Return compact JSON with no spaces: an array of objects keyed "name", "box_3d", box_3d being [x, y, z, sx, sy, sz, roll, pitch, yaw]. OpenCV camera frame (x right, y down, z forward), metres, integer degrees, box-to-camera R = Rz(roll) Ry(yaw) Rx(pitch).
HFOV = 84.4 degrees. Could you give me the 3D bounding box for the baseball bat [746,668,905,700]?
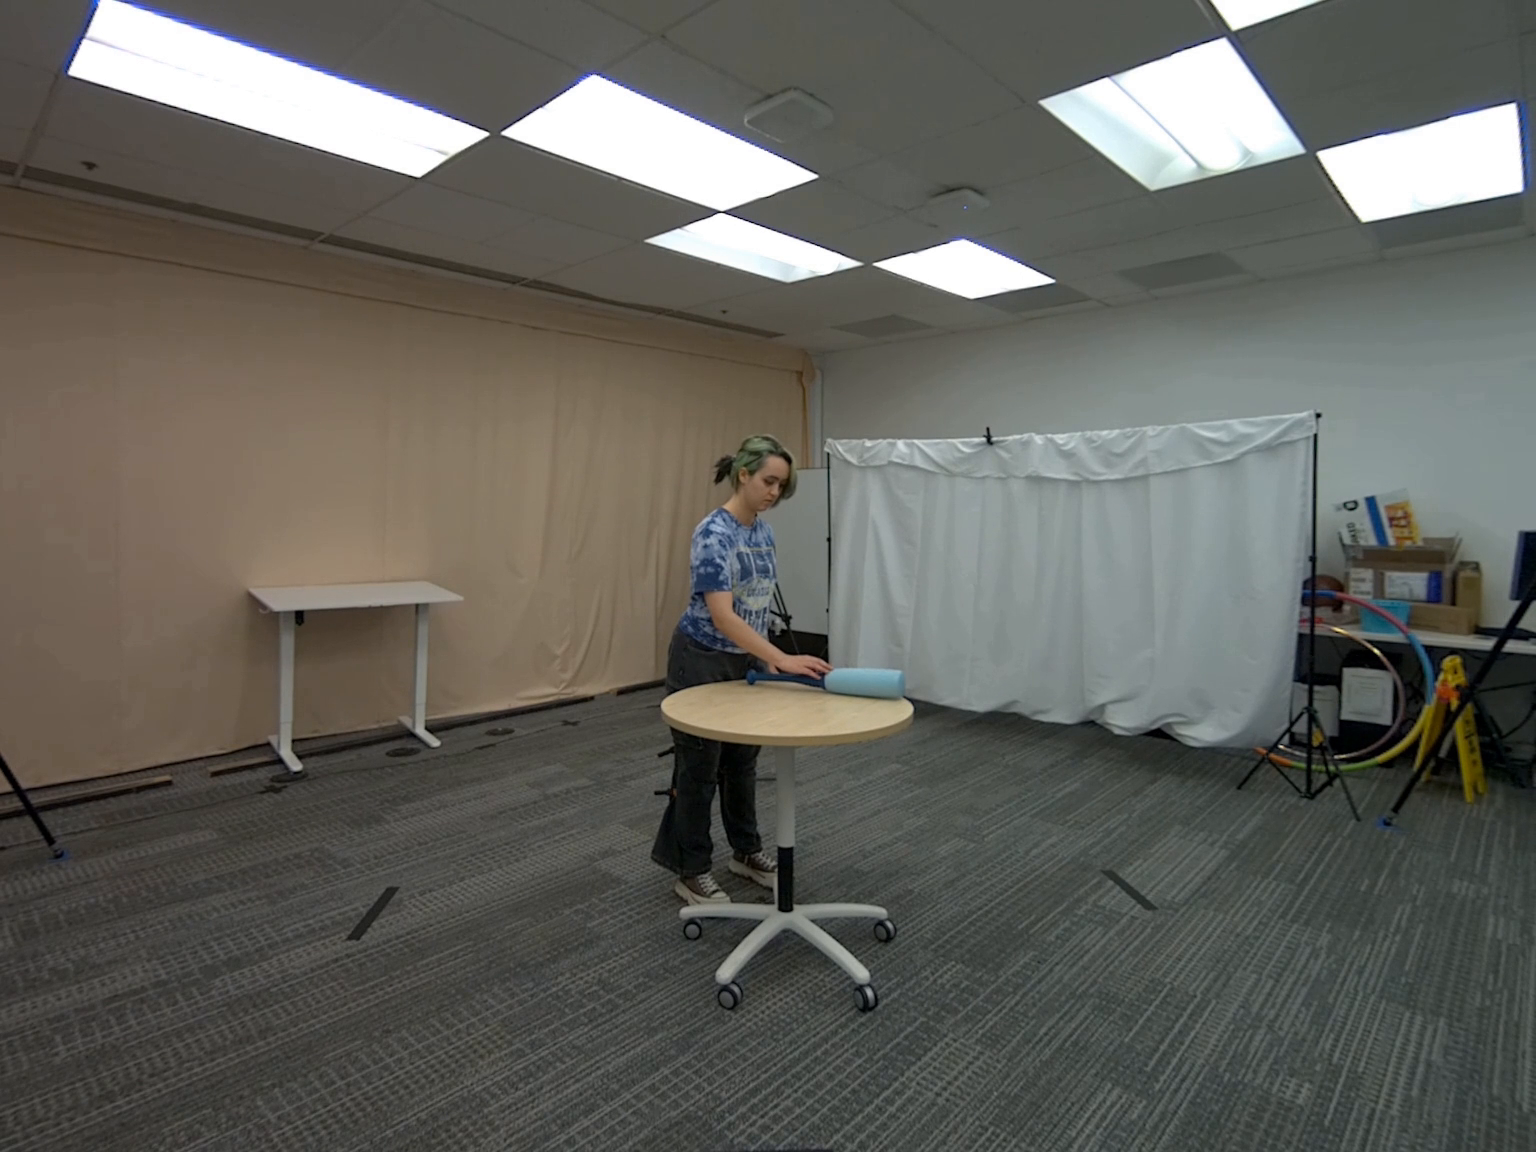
[{"name":"baseball bat","box_3d":[0.186,0.345,2.744,0.557,0.089,0.087,-1,3,28]}]
